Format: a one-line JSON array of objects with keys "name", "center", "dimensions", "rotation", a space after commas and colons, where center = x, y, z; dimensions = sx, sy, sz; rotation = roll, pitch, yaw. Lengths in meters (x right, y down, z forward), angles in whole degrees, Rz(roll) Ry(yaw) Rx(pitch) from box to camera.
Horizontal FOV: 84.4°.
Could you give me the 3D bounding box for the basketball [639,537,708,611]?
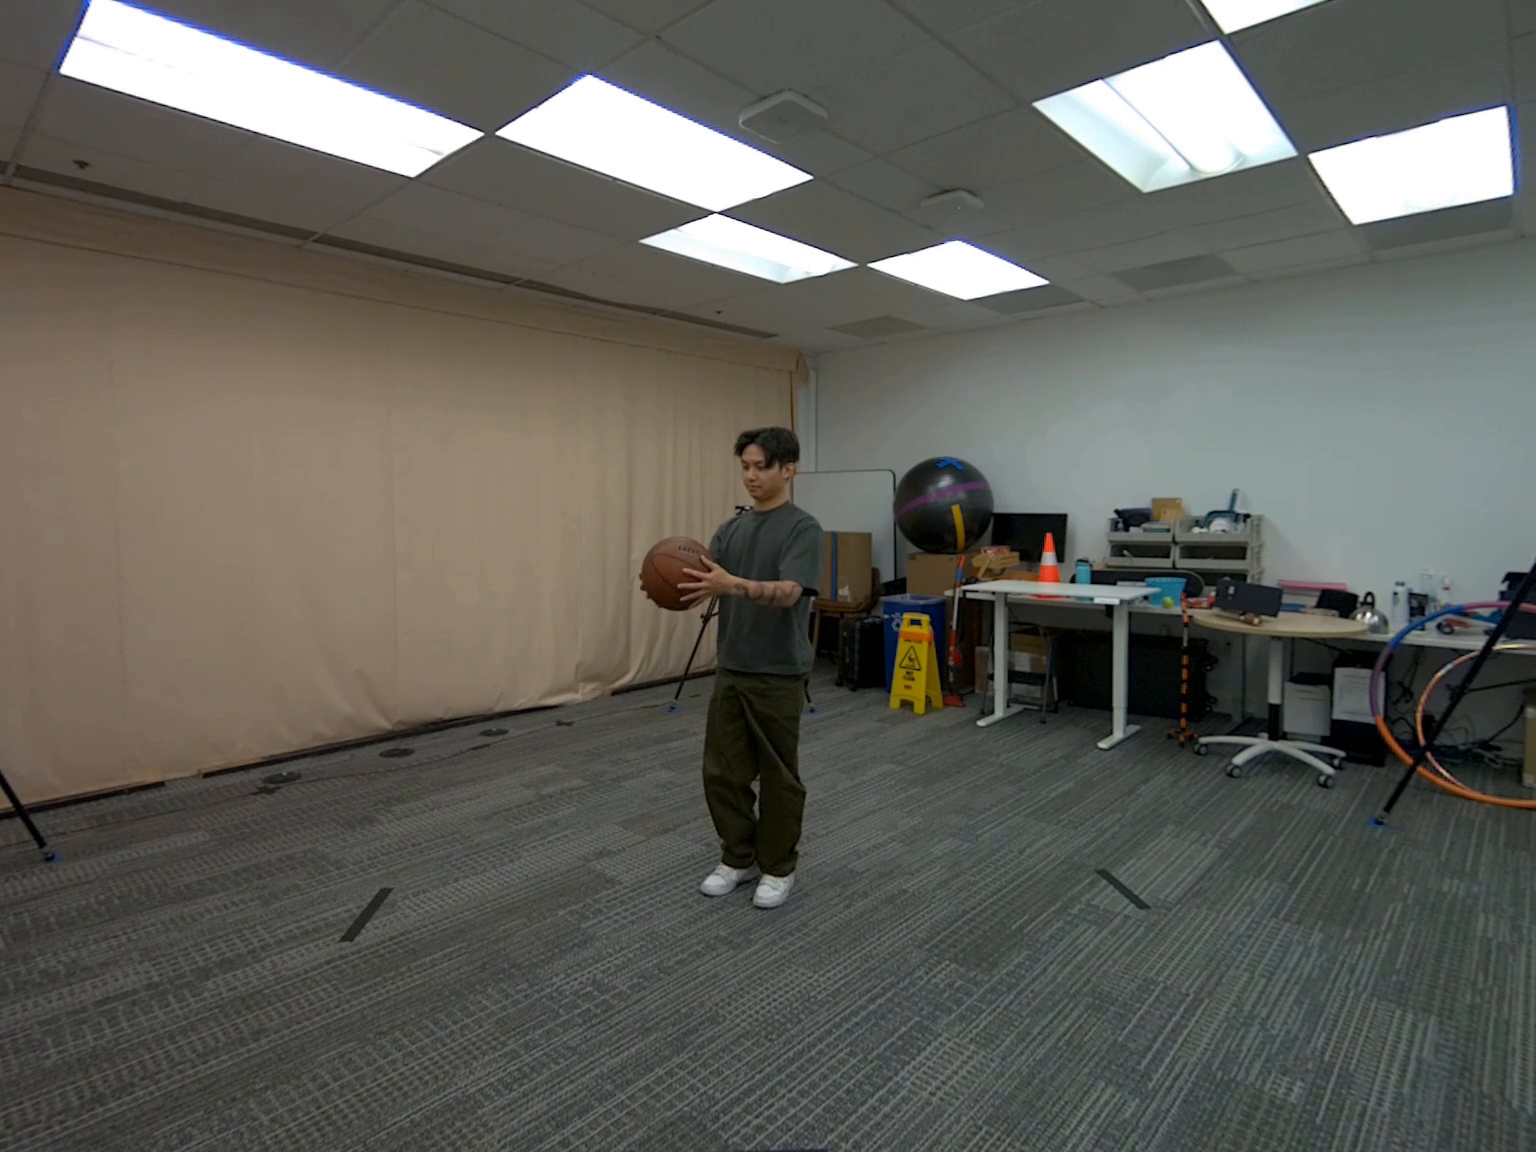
[{"name": "basketball", "center": [-0.283, -0.004, 2.705], "dimensions": [0.236, 0.235, 0.237], "rotation": [0, 4, -2]}]
